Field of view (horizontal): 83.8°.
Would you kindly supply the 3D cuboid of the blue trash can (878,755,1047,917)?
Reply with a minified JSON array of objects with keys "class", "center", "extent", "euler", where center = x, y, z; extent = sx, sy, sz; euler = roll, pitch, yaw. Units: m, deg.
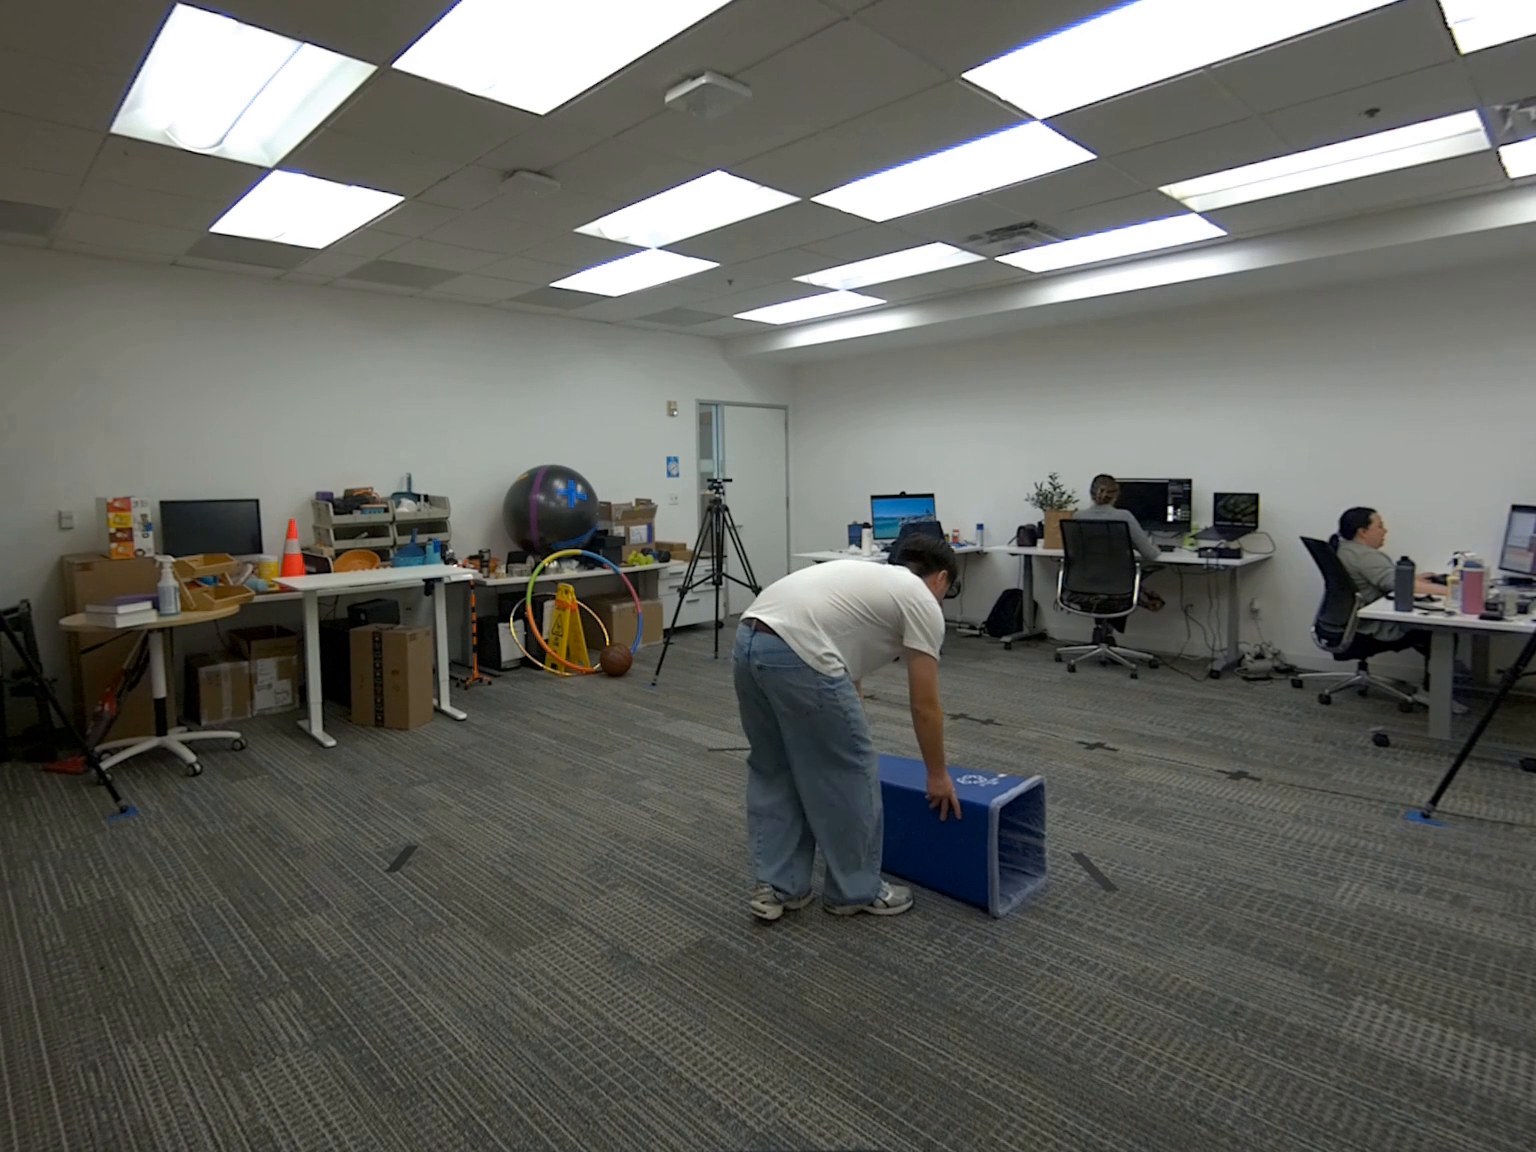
[{"class":"blue trash can","center":[0.574,0.877,3.050],"extent":[0.734,0.377,0.364],"euler":[1,4,43]}]
